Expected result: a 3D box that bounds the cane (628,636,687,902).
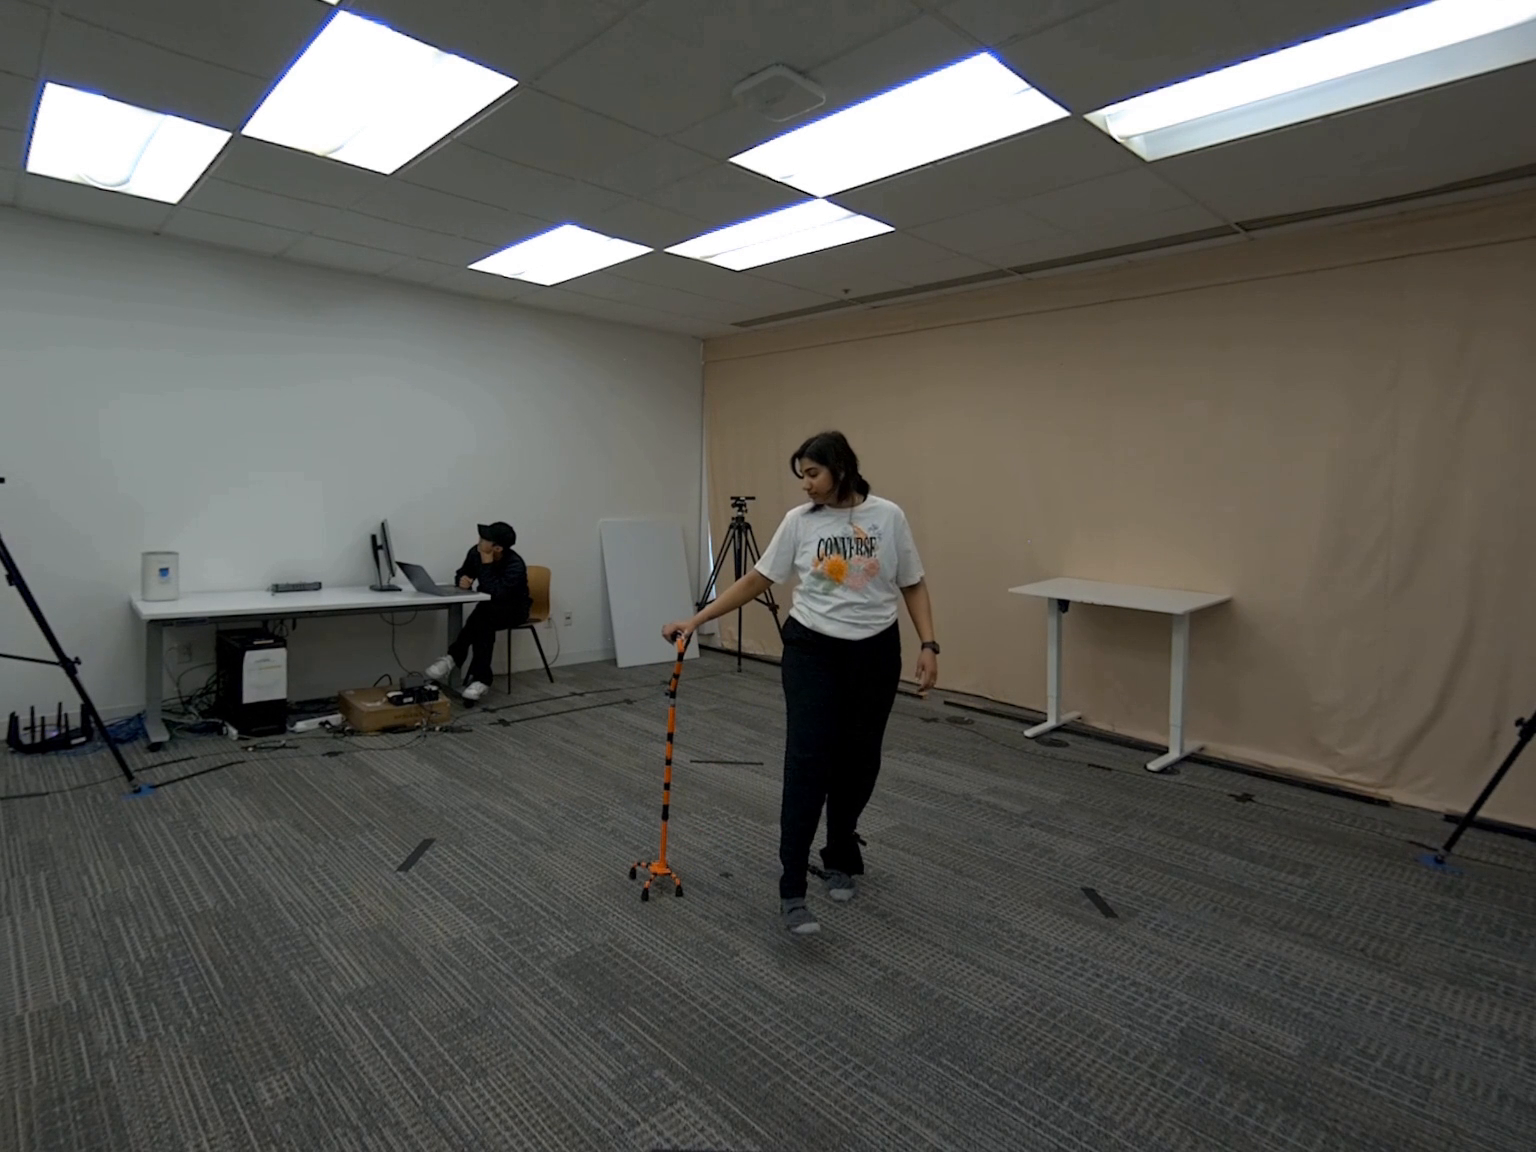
[{"bbox_3d":[-0.372,0.652,2.988,0.149,0.907,0.210,4,2,-22],"label":"cane"}]
